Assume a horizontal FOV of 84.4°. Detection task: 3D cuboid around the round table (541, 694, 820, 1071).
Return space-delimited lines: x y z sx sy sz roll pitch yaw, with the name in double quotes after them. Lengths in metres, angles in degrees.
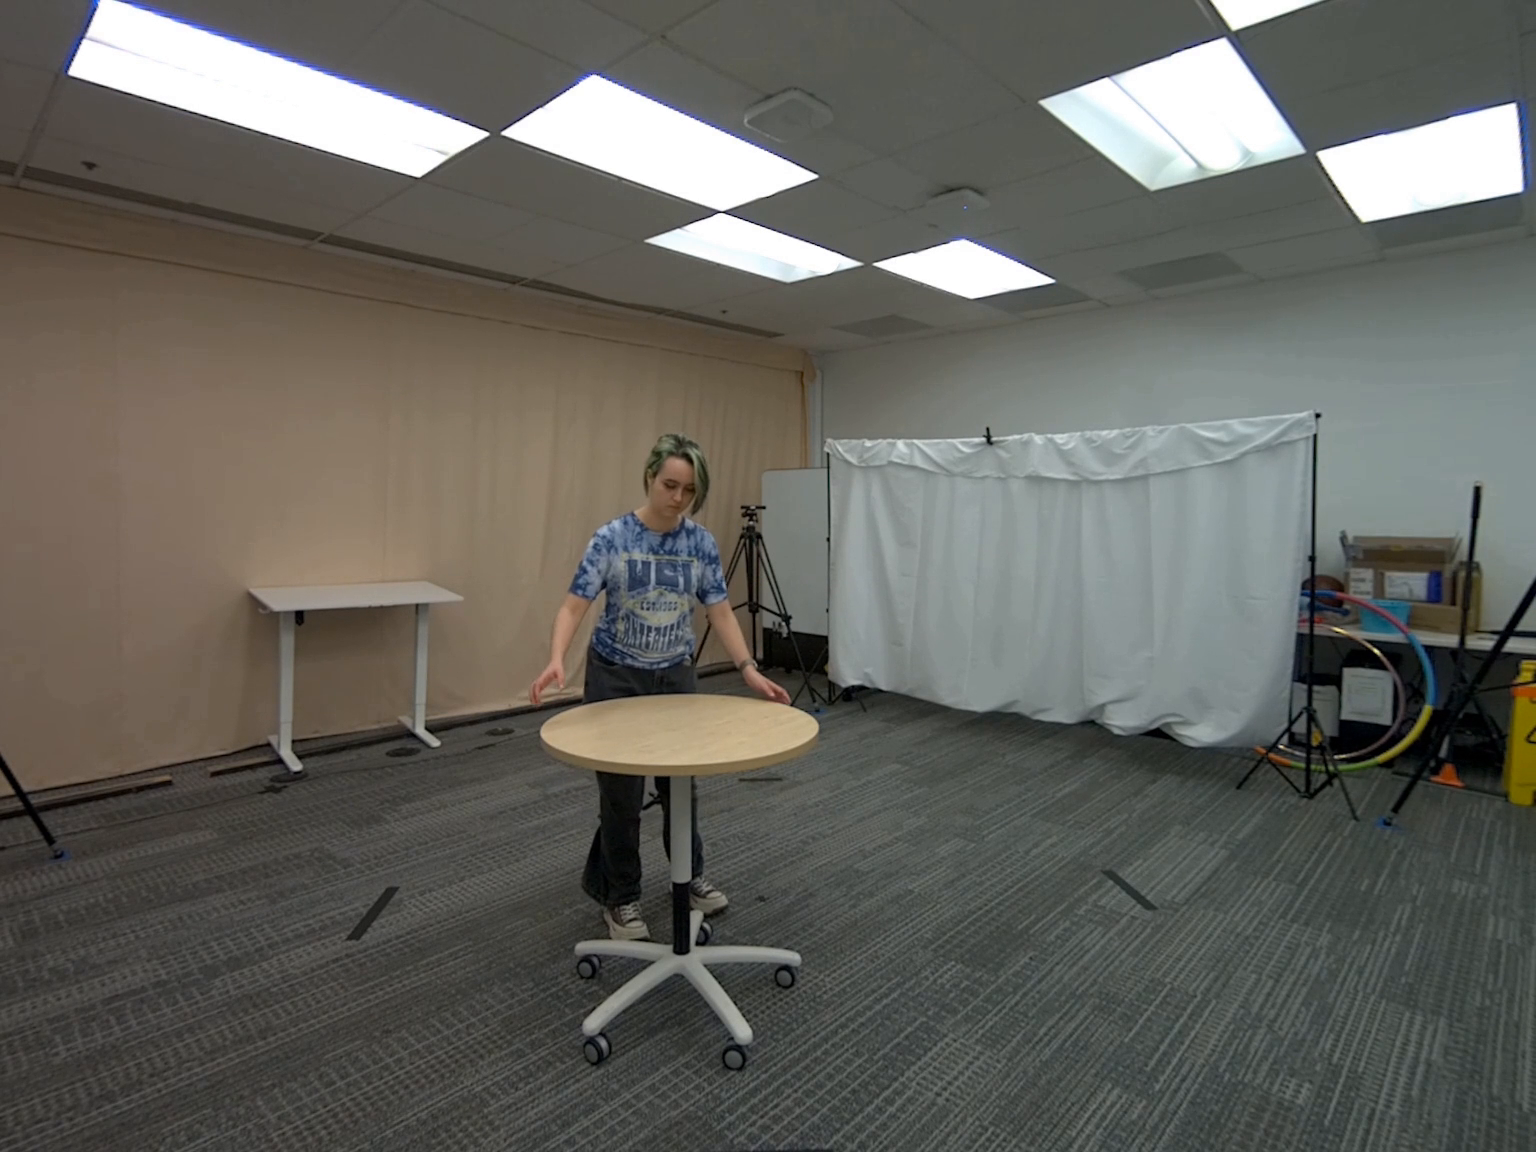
-0.236 0.806 2.359 0.763 0.792 0.767 0 4 -2 "round table"
